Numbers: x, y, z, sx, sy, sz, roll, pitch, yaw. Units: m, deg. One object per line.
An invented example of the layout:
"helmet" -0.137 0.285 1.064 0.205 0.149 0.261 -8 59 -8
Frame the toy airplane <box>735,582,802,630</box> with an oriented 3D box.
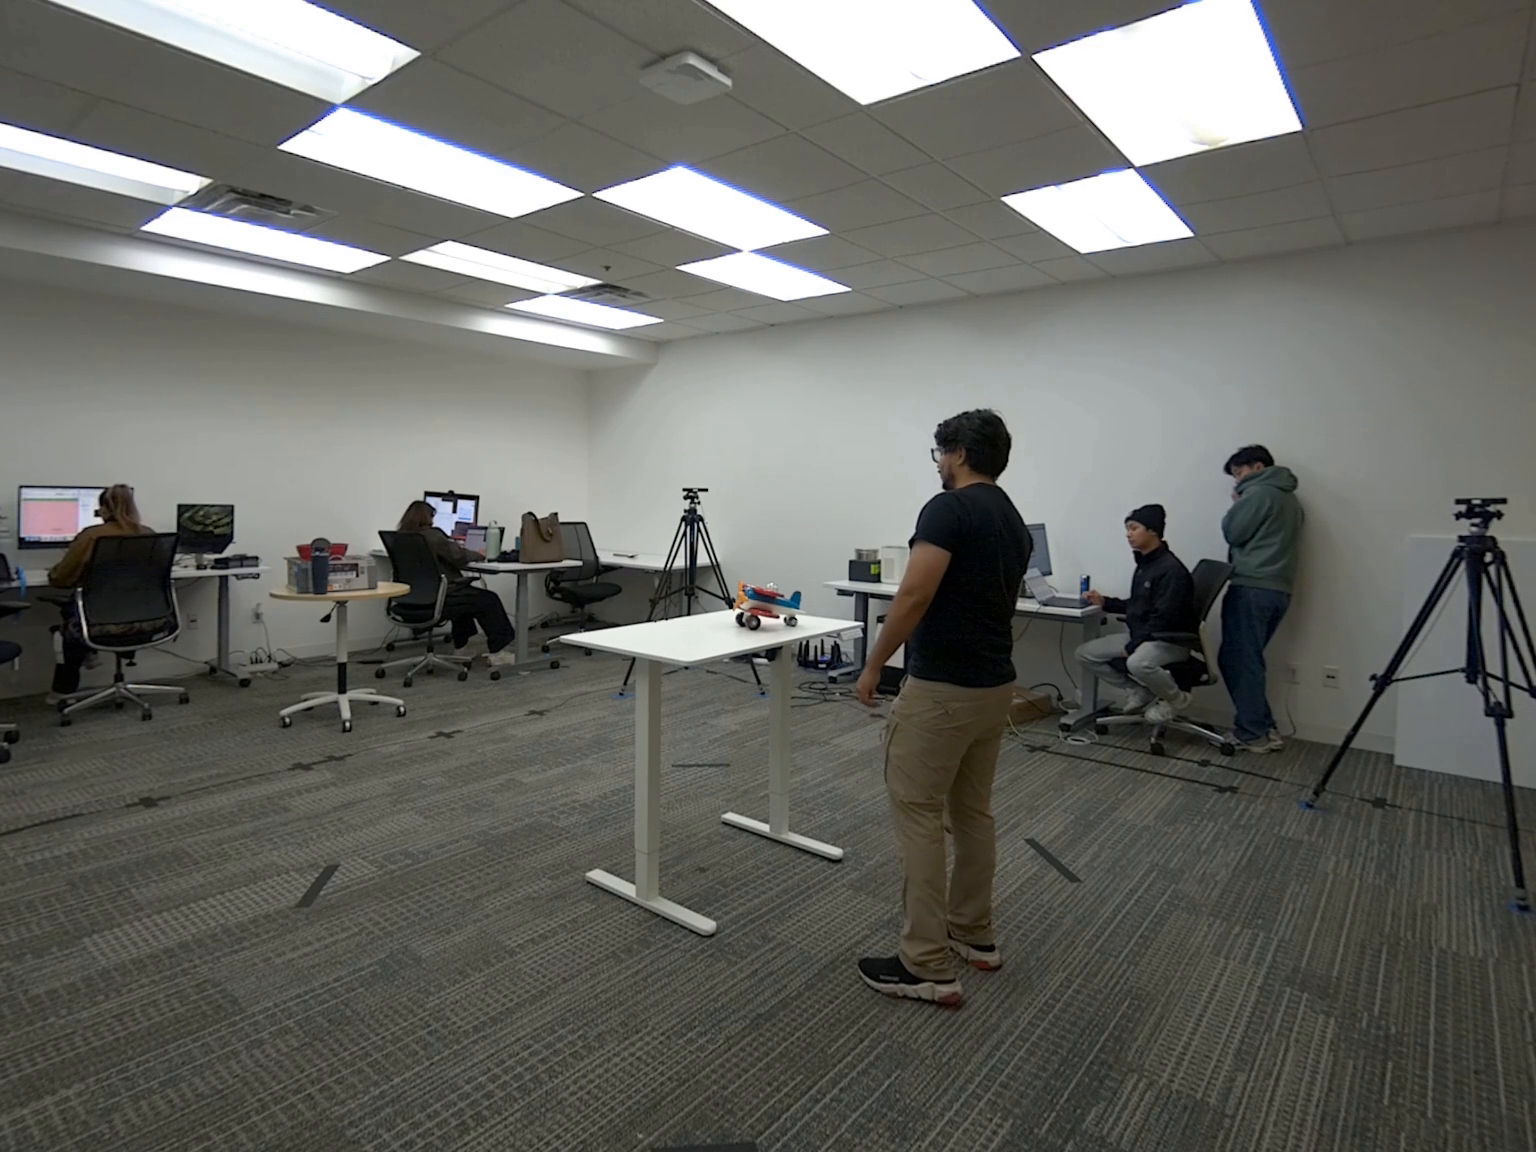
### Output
"toy airplane" -0.016 0.105 3.160 0.259 0.156 0.252 4 7 37
